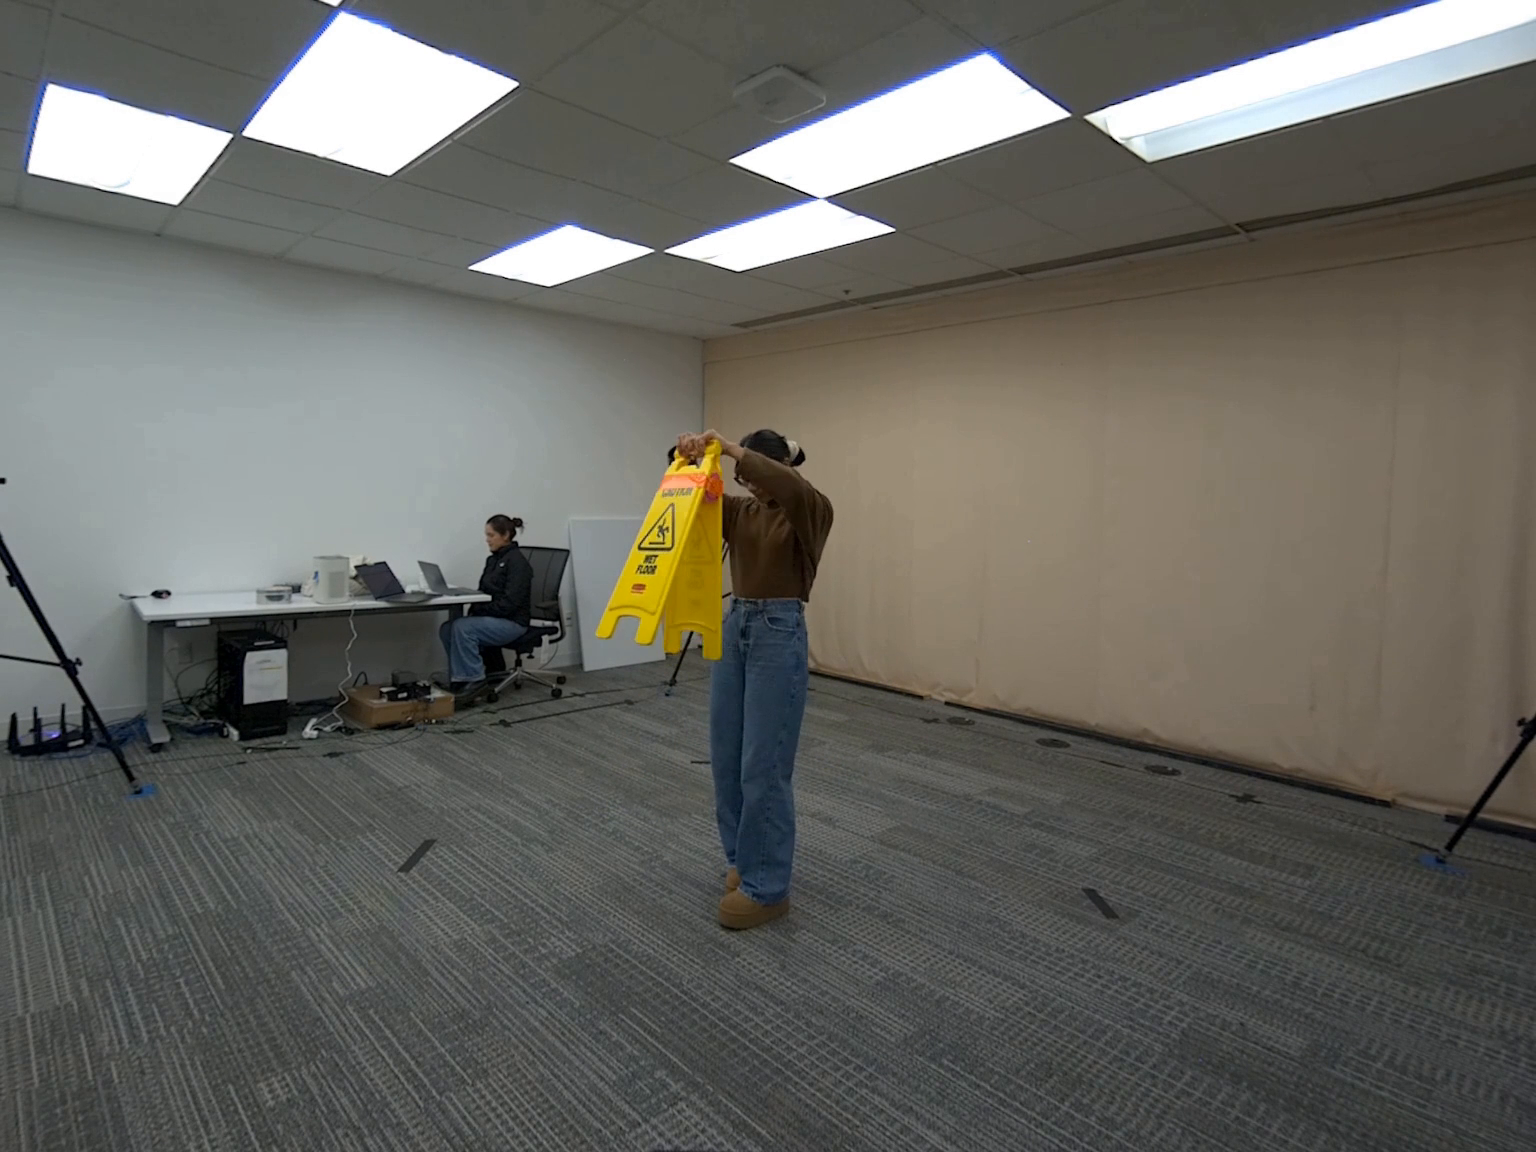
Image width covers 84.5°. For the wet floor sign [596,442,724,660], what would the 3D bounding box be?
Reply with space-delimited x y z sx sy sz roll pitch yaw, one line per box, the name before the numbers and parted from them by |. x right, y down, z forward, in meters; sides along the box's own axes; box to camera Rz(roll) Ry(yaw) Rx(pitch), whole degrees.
wet floor sign | -0.275 -0.098 2.557 0.281 0.649 0.289 17 -11 -40
